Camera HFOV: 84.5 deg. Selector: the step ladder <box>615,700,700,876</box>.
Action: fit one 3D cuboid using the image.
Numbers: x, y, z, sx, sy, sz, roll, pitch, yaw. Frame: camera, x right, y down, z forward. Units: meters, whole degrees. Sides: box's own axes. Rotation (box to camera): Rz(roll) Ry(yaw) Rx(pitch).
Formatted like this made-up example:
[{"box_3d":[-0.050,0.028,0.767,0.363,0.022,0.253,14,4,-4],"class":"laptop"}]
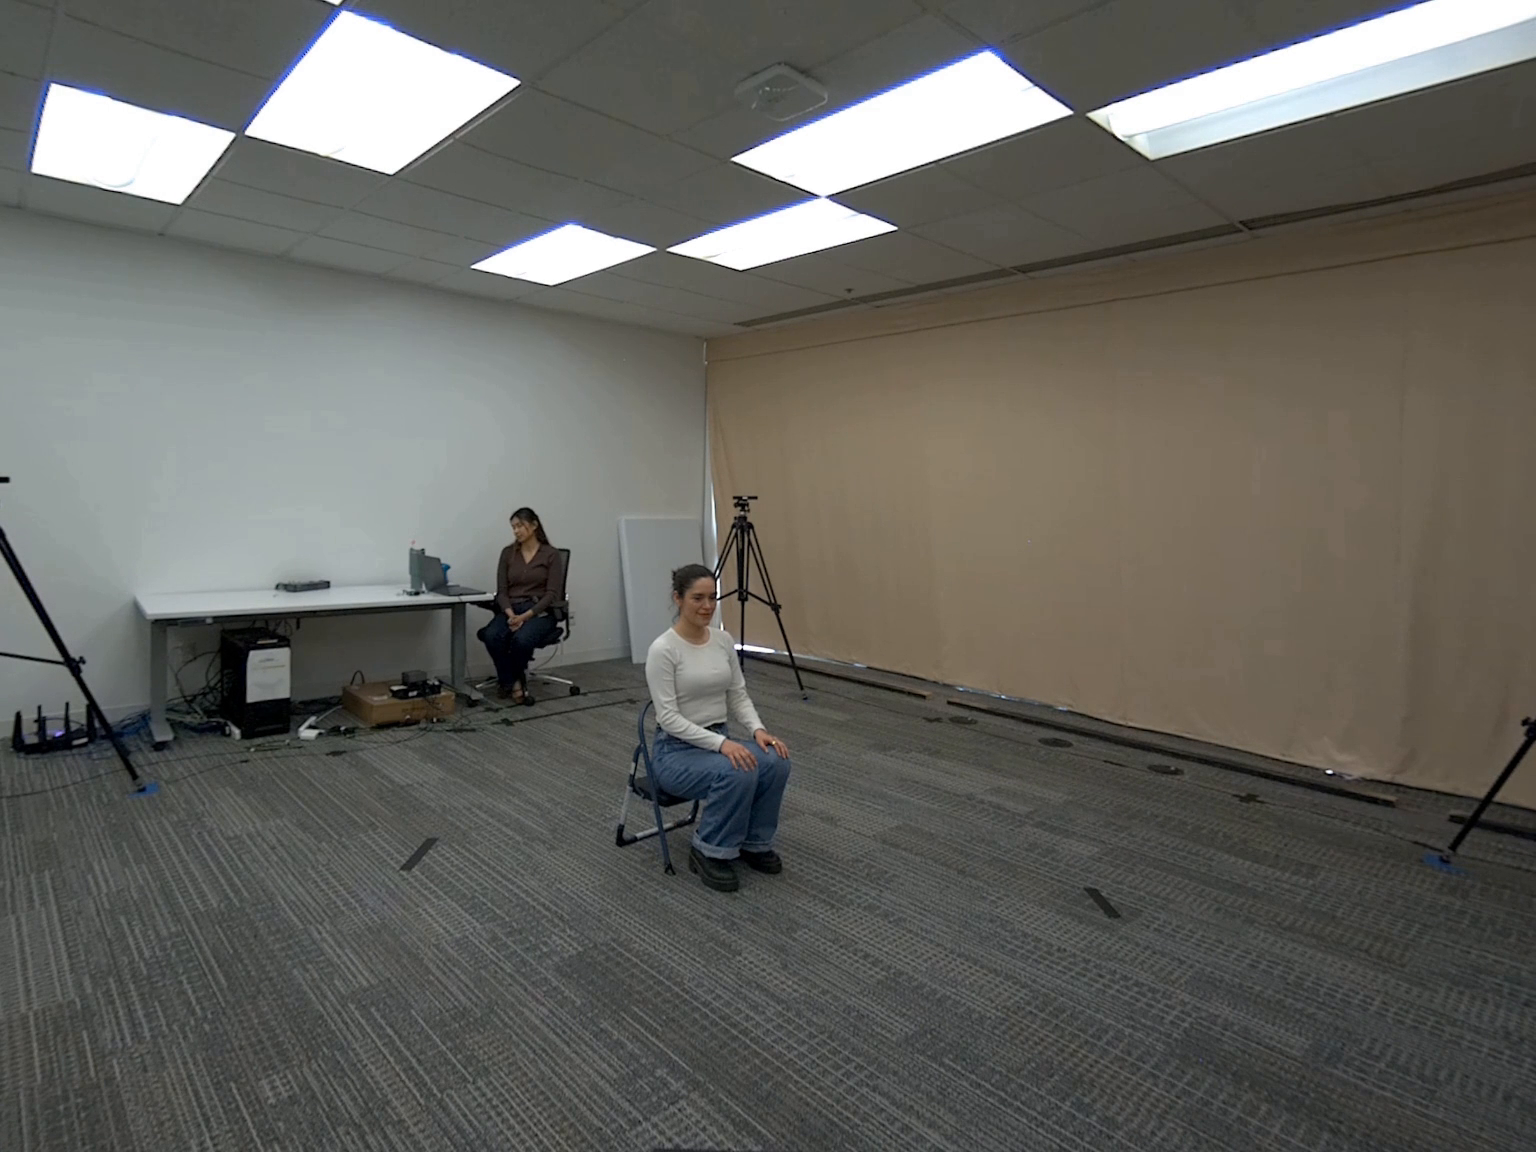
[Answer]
[{"box_3d":[-0.341,0.771,3.347,0.358,0.605,0.421,5,4,44],"class":"step ladder"}]
